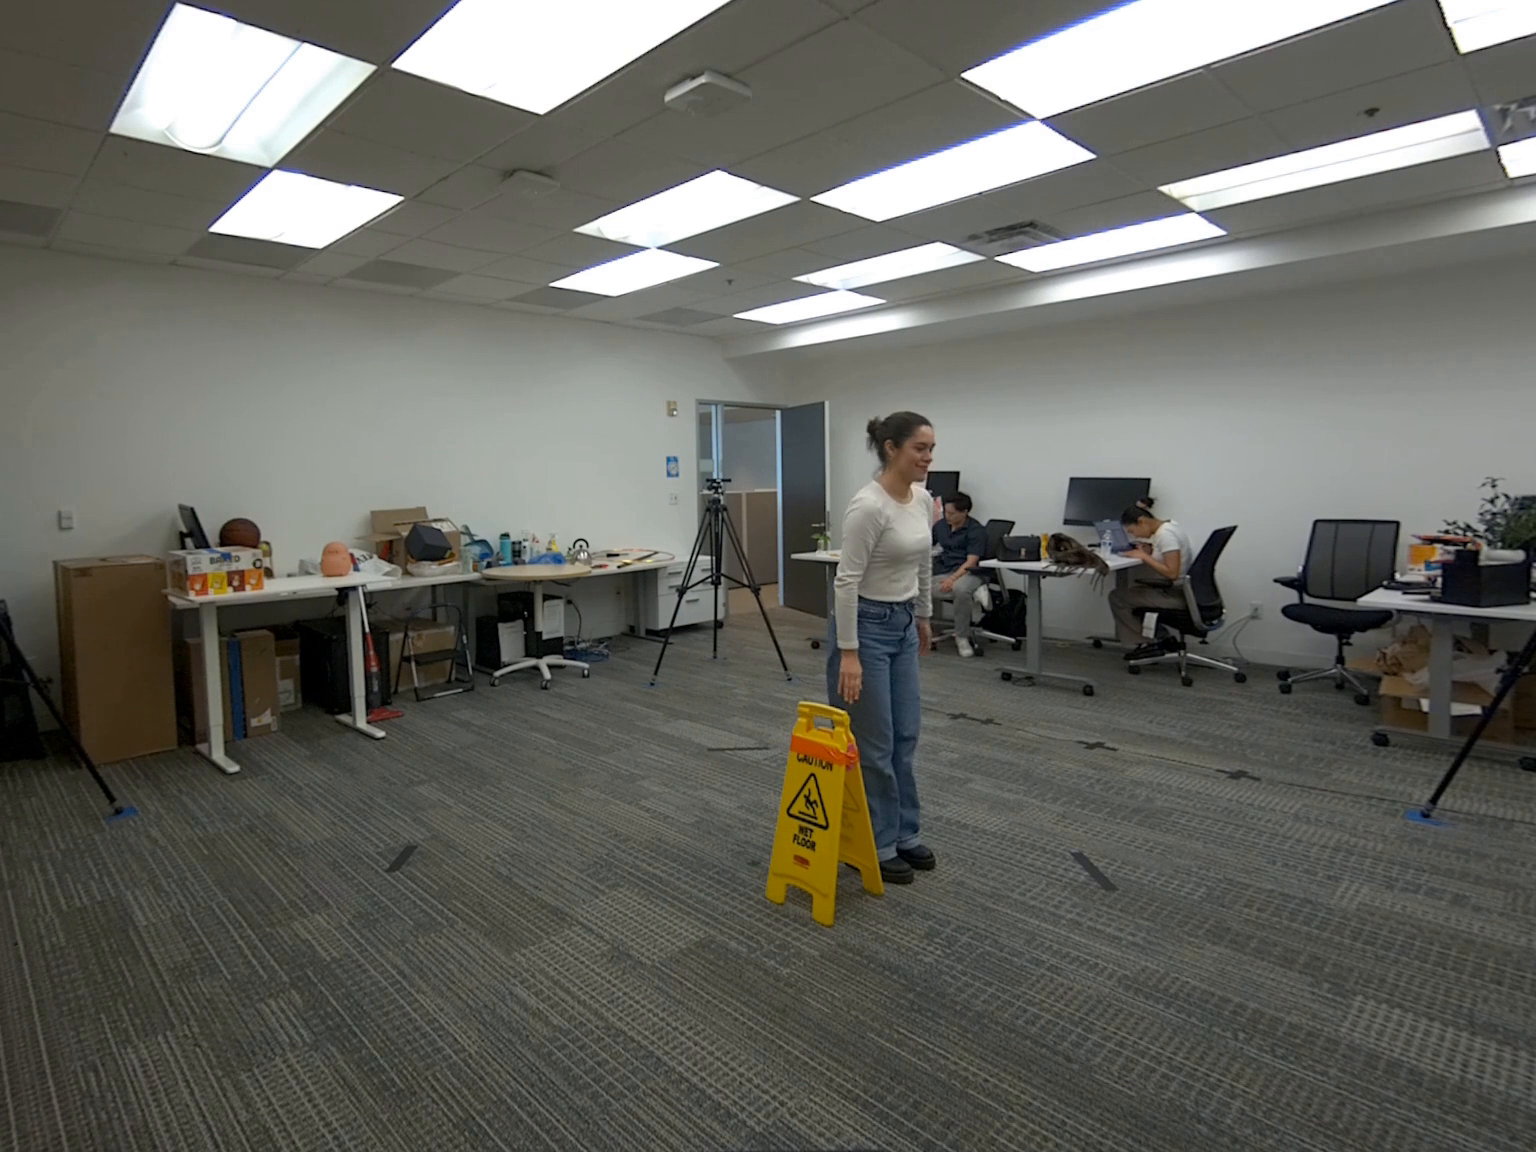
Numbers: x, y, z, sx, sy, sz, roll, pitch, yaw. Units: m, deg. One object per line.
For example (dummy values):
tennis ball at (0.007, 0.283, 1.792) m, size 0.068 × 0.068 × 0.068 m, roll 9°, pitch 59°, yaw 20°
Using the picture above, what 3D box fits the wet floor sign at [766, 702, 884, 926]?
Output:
wet floor sign at (0.184, 0.748, 2.829) m, size 0.291 × 0.644 × 0.282 m, roll 2°, pitch 6°, yaw 45°
